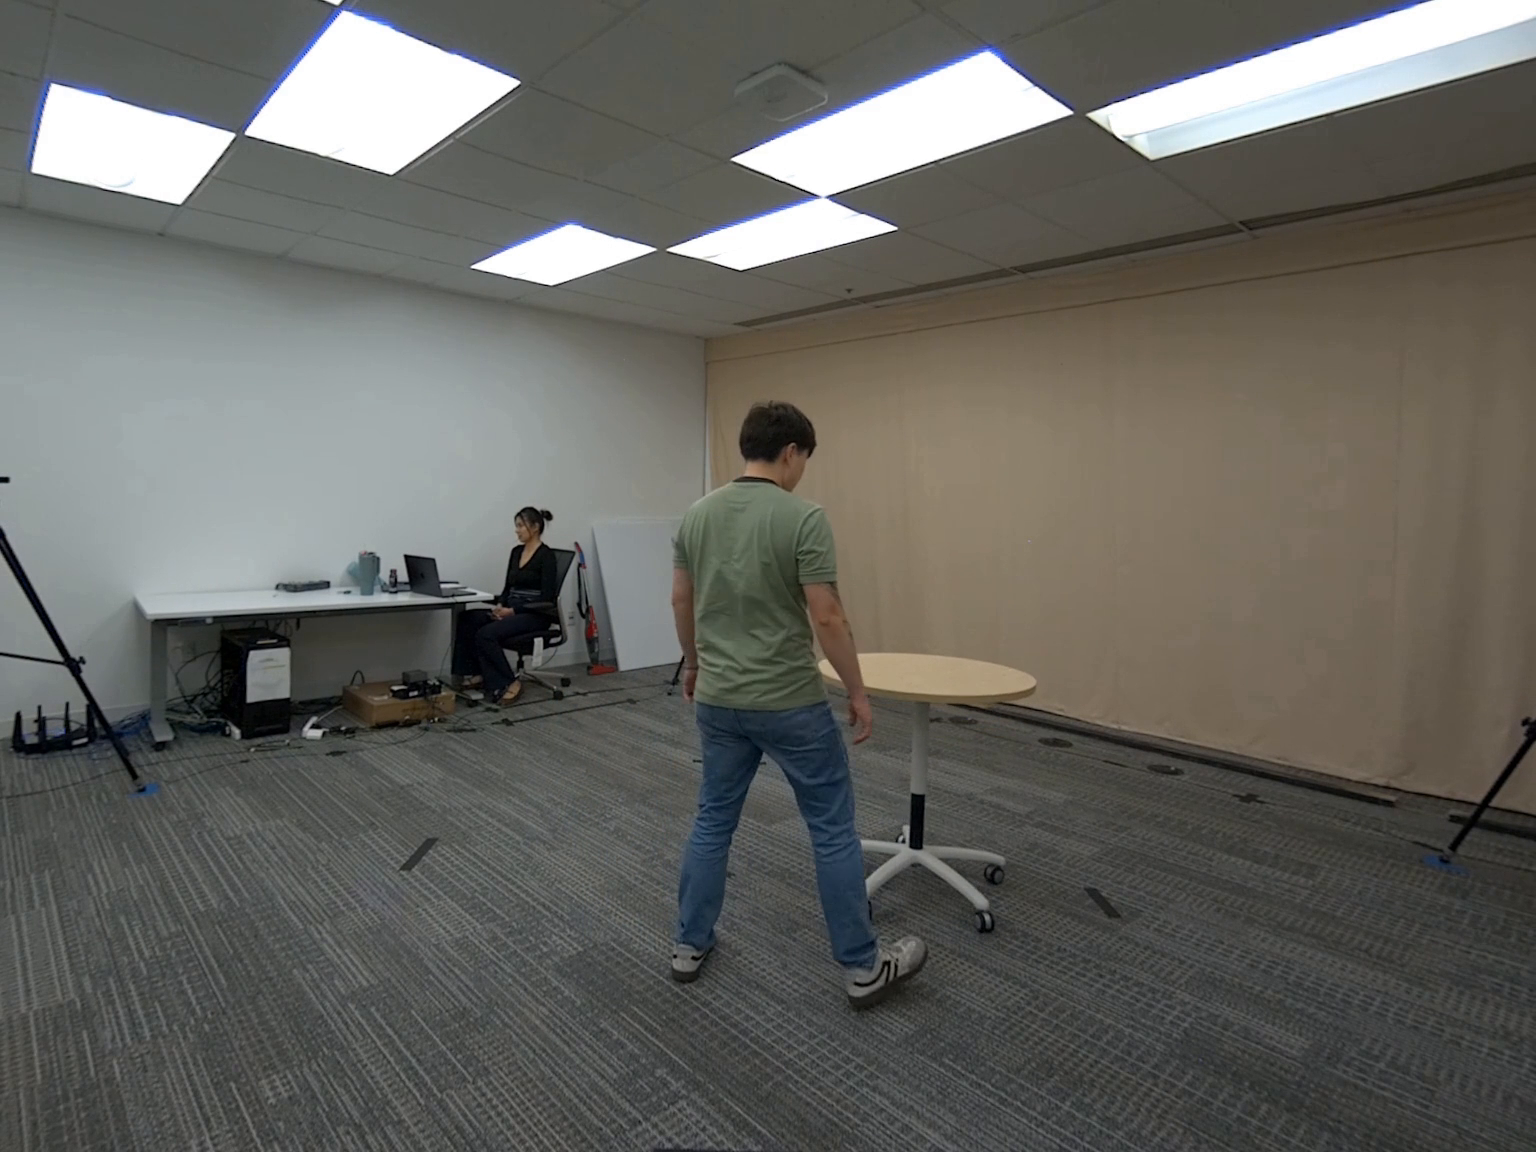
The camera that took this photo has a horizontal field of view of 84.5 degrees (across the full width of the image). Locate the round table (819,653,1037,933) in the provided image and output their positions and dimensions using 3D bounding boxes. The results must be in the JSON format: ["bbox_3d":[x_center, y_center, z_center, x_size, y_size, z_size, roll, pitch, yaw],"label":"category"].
[{"bbox_3d":[0.537,0.738,3.028,0.763,0.792,0.766,2,4,-1],"label":"round table"}]
